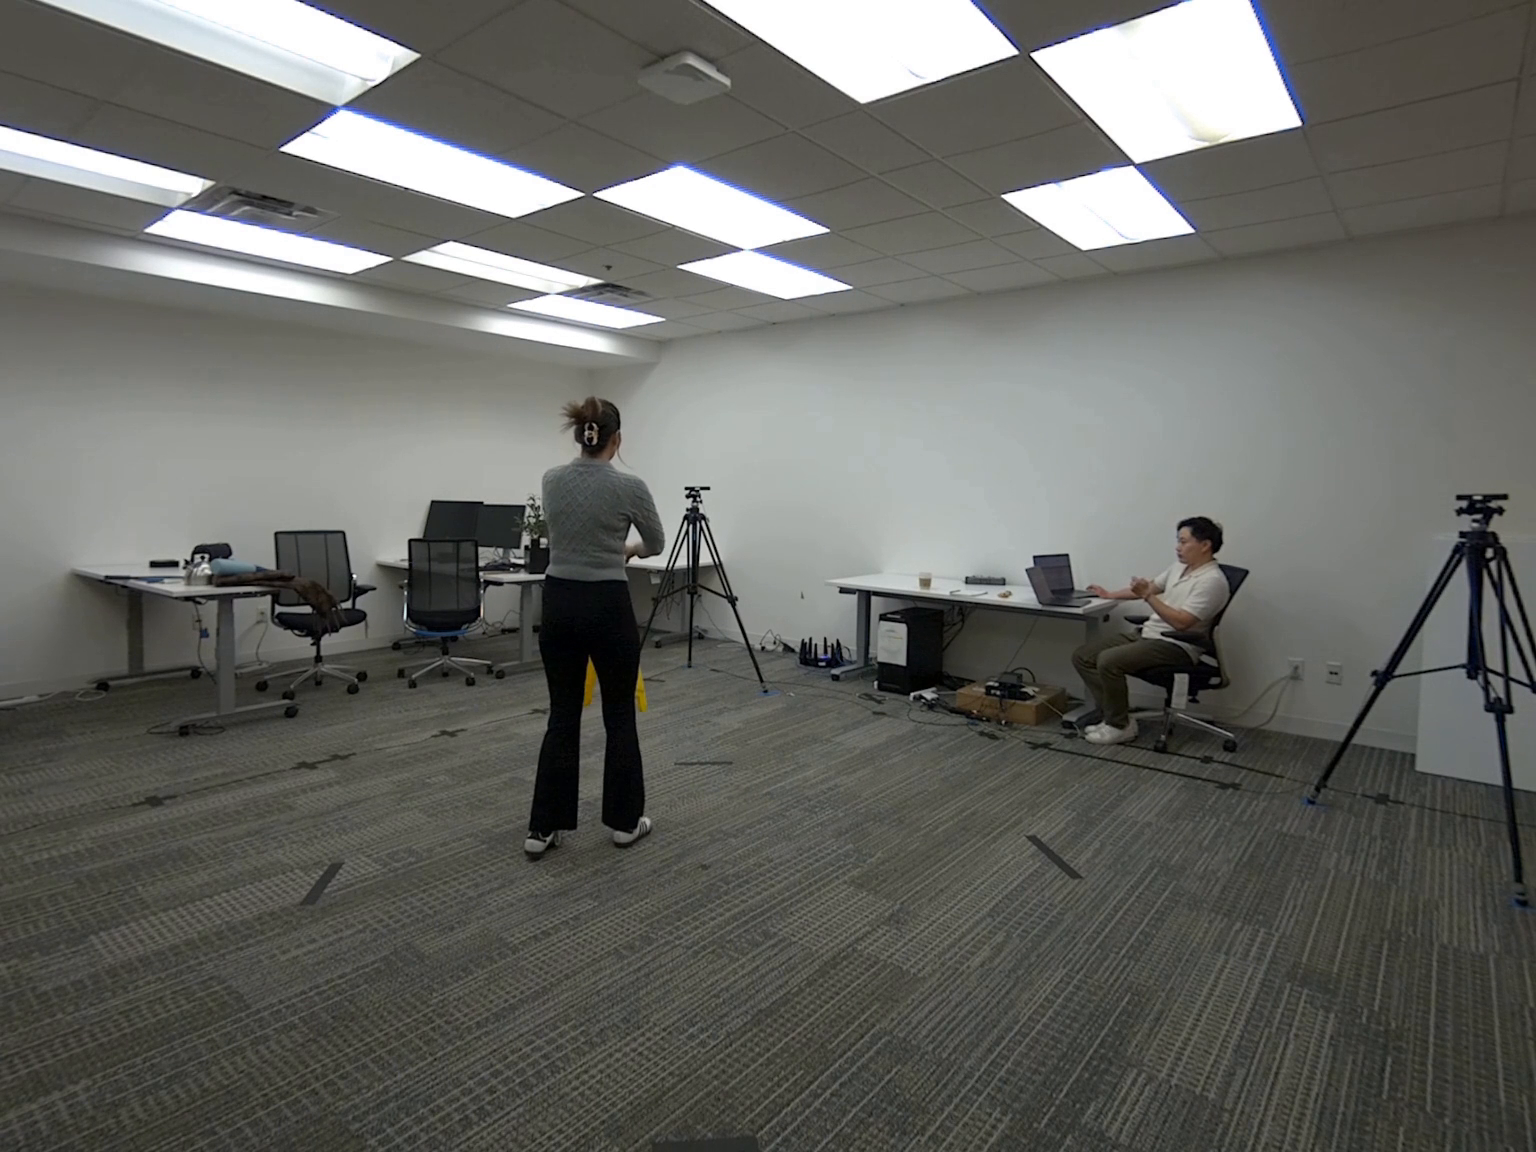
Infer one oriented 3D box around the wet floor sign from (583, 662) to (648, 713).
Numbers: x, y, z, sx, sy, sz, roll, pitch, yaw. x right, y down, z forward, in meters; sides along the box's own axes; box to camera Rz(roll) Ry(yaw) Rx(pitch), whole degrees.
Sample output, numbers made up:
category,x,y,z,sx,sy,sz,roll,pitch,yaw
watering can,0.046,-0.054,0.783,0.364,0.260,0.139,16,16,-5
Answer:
category,x,y,z,sx,sy,sz,roll,pitch,yaw
wet floor sign,-0.708,0.269,3.716,0.294,0.648,0.277,1,-4,13
